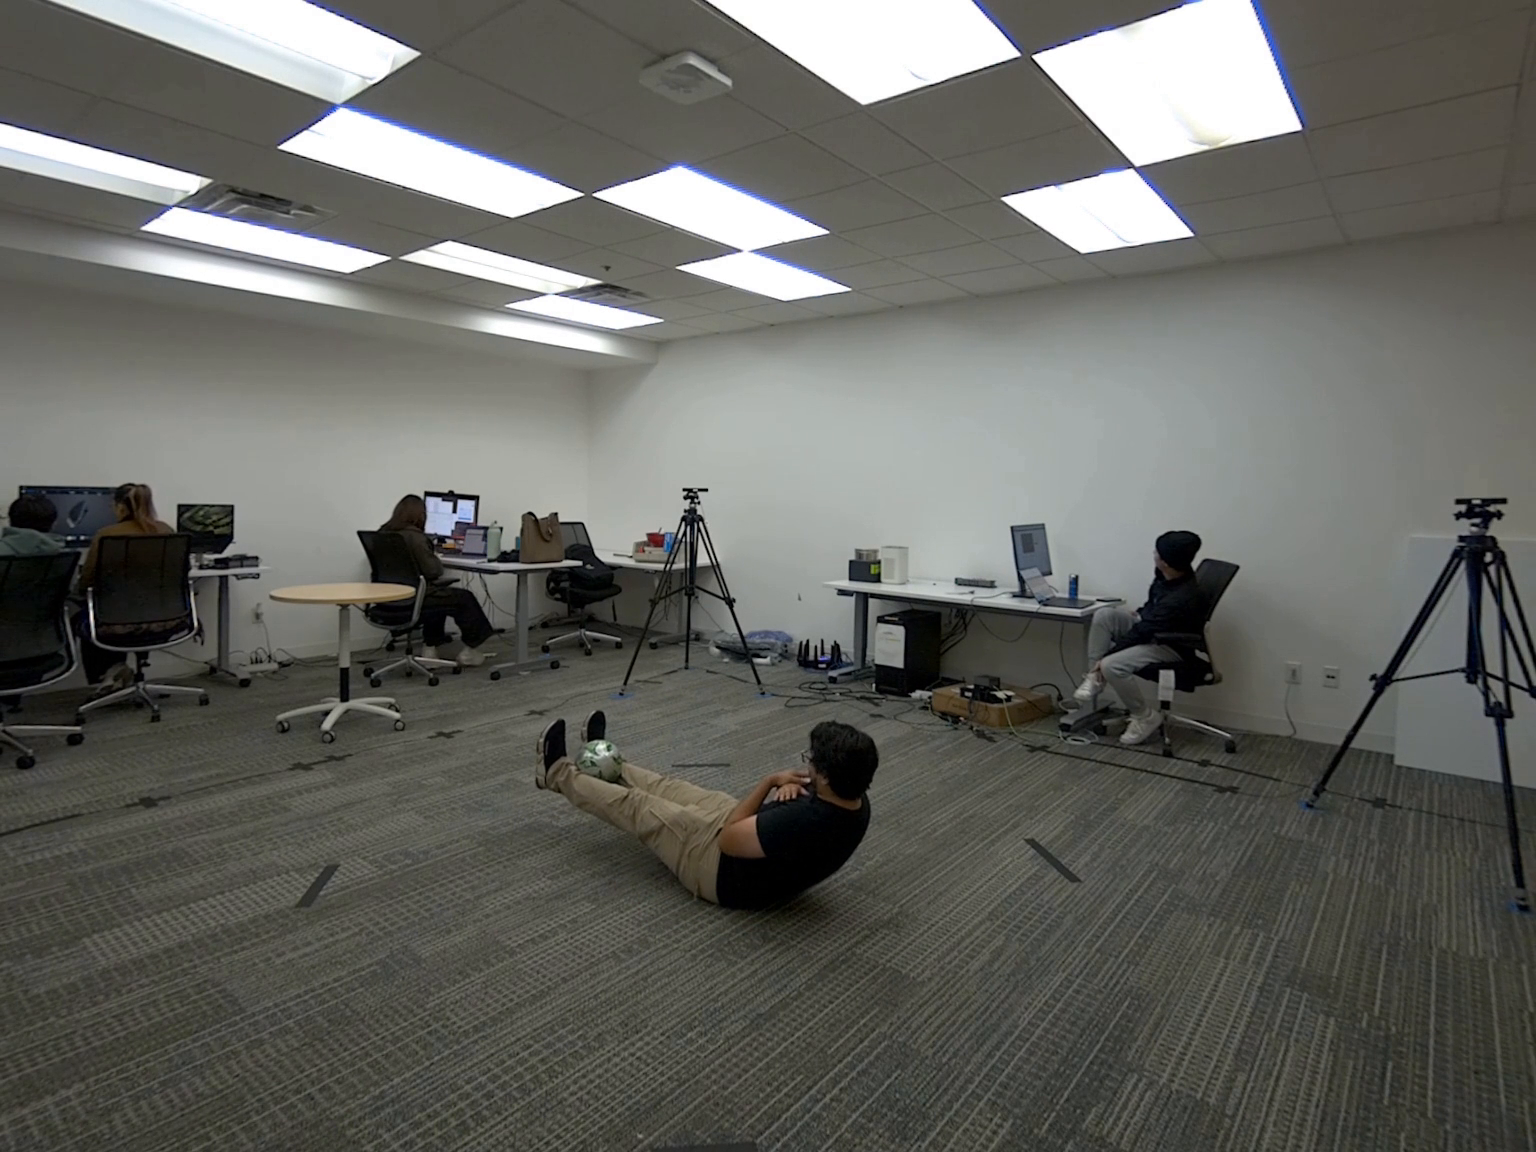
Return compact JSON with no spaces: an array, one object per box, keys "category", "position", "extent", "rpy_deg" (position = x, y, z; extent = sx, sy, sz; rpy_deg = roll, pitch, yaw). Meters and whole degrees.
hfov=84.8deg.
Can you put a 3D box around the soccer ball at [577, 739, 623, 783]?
[{"category":"soccer ball","position":[-0.687,0.746,3.373],"extent":[0.187,0.187,0.188],"rpy_deg":[0,4,-2]}]
